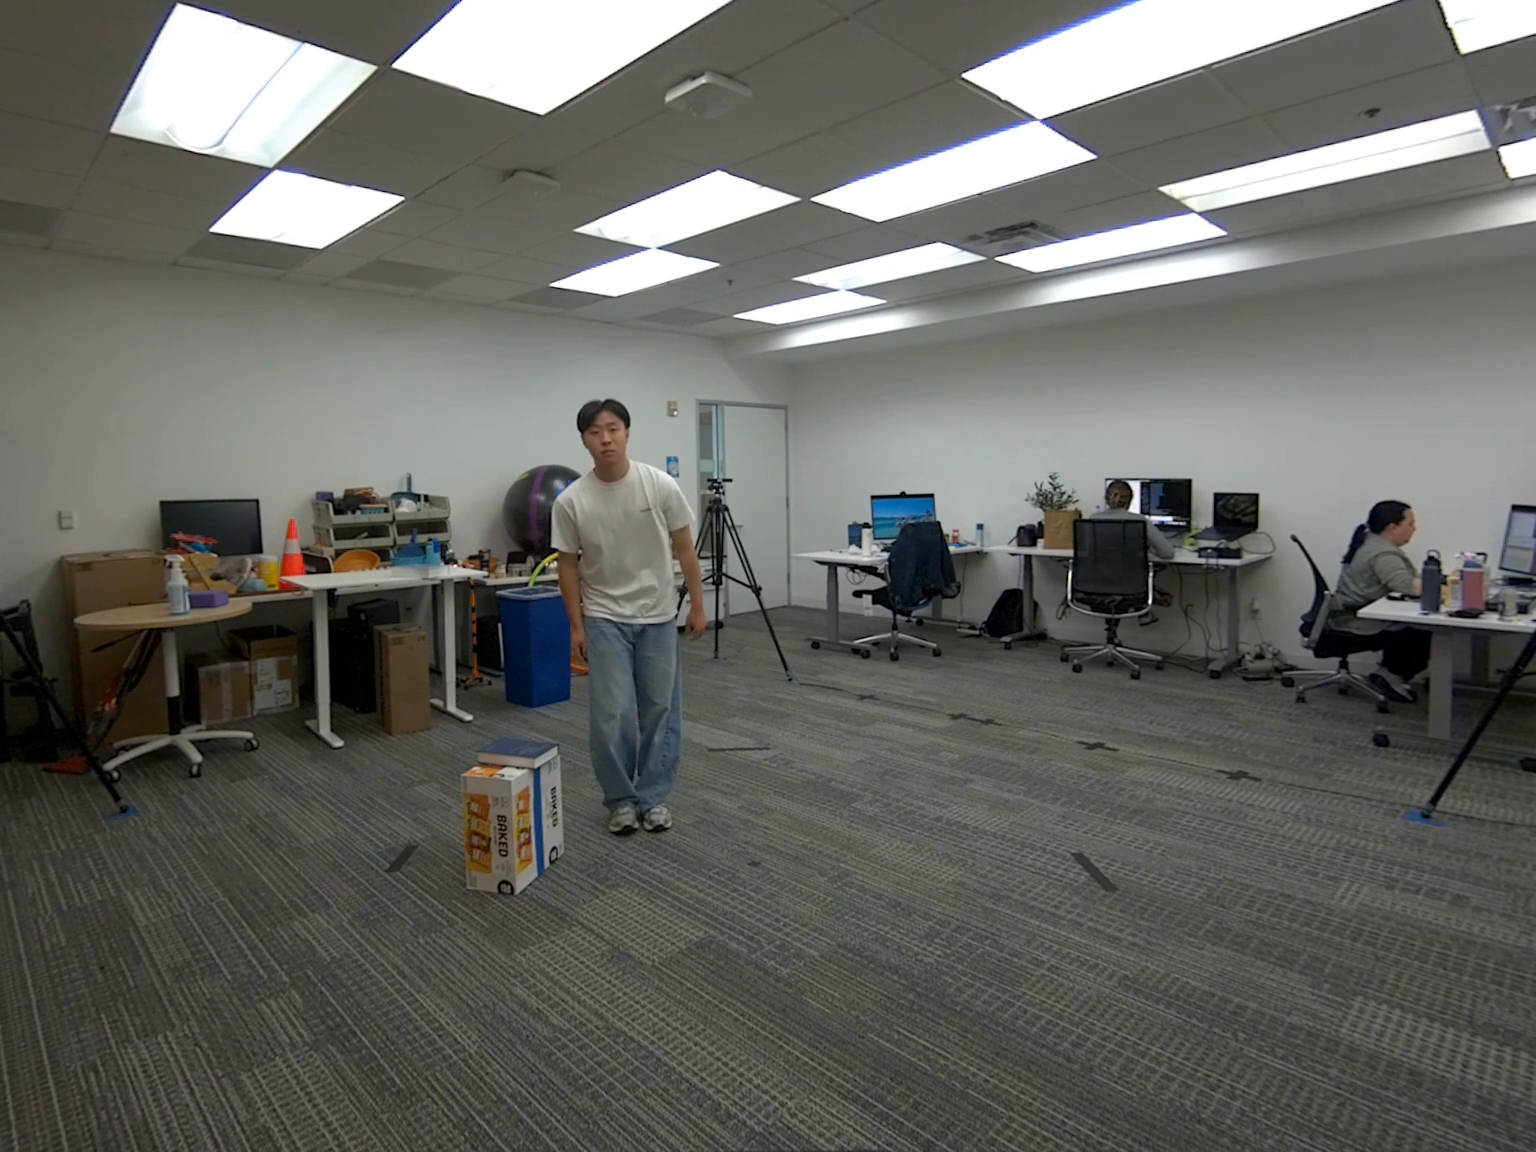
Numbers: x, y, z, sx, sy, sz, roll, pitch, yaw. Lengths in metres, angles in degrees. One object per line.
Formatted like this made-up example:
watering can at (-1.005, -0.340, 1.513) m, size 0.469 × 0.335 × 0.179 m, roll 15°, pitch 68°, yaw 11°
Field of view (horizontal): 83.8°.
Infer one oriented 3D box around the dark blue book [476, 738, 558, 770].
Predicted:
dark blue book at (-0.899, 0.637, 3.085) m, size 0.249 × 0.045 × 0.161 m, roll 1°, pitch 8°, yaw 18°
